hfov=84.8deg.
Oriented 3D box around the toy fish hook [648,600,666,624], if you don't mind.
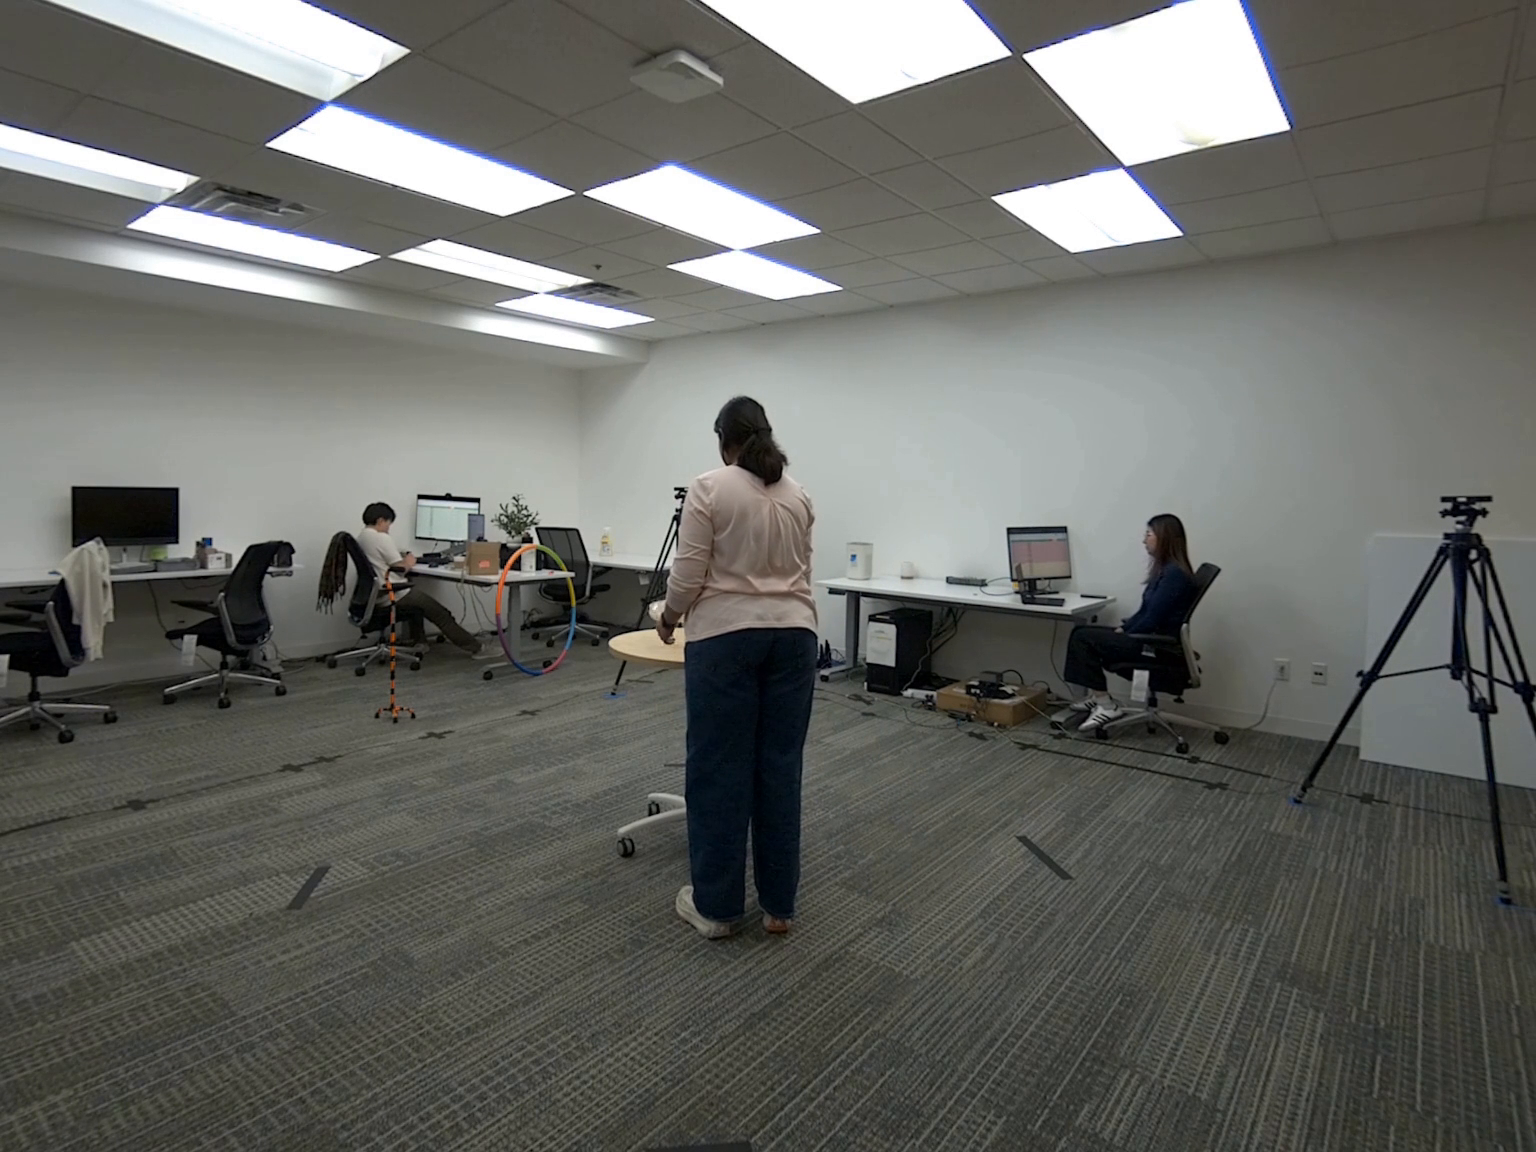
[{"bbox_3d":[-0.202,0.114,3.272,0.505,0.047,0.229,-2,22,-2],"label":"toy fish hook"}]
